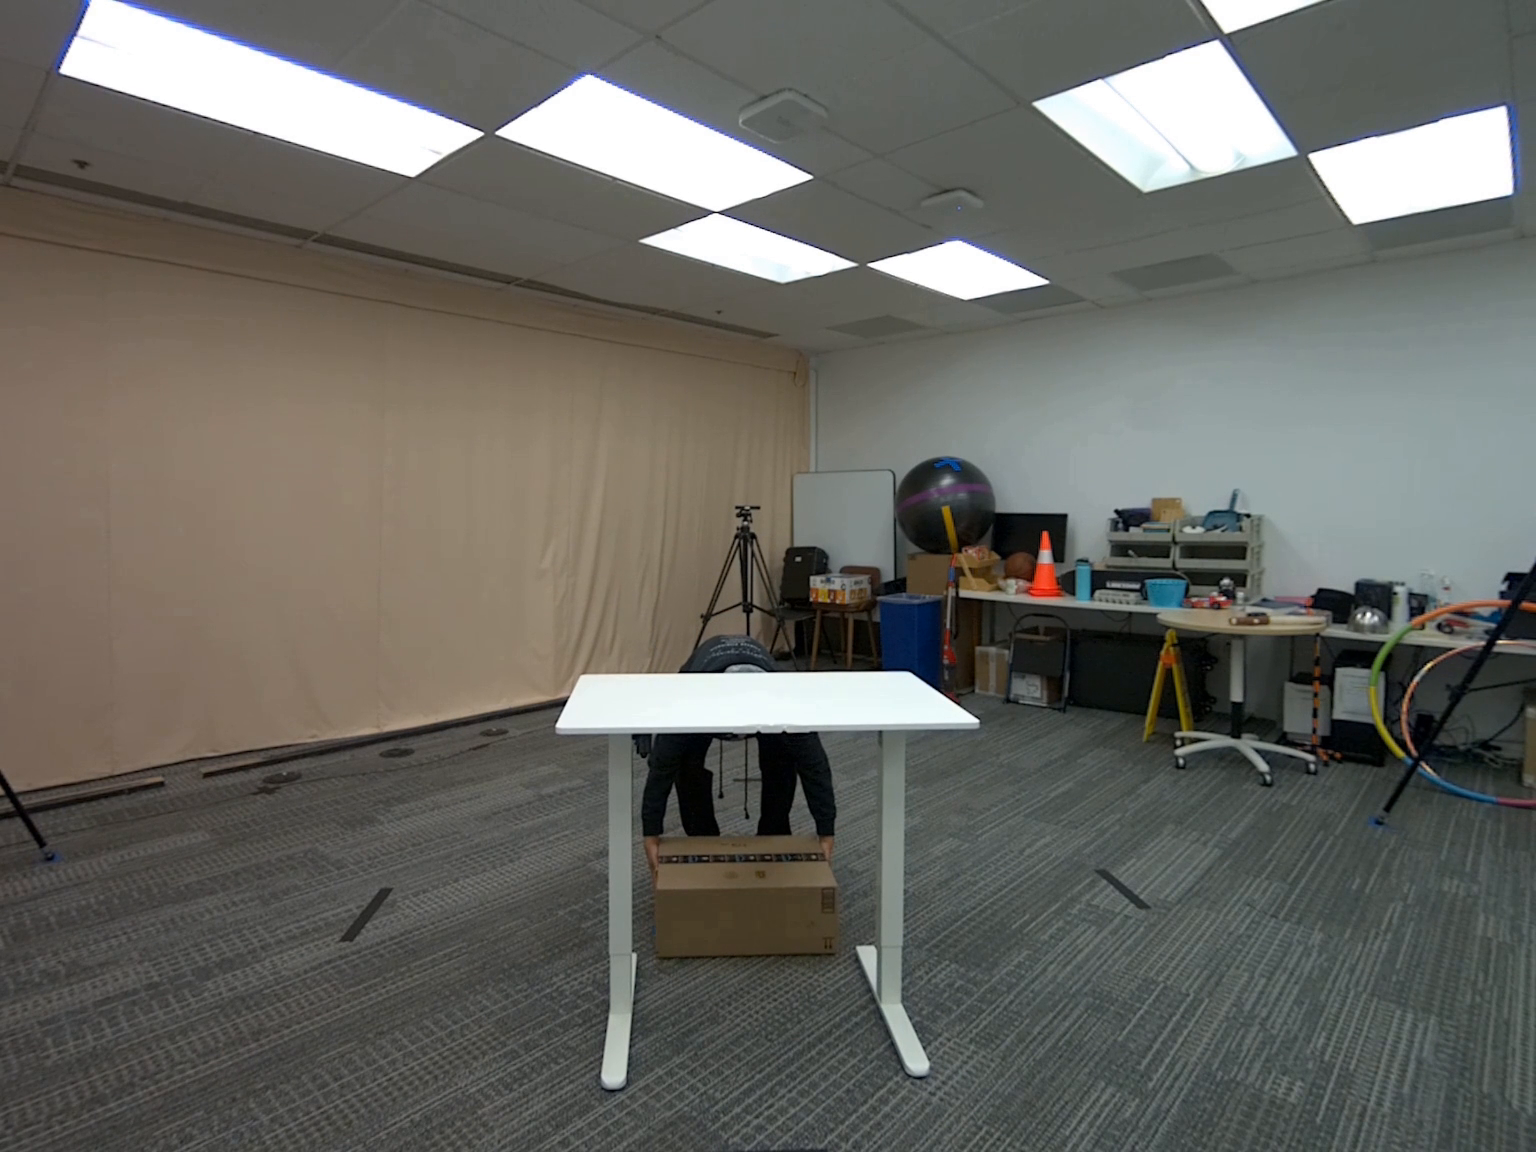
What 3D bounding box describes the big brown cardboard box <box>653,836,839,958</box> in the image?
[{"bbox_3d":[-0.086,1.049,2.788,0.587,0.232,0.420,-1,4,-4],"label":"big brown cardboard box"}]
